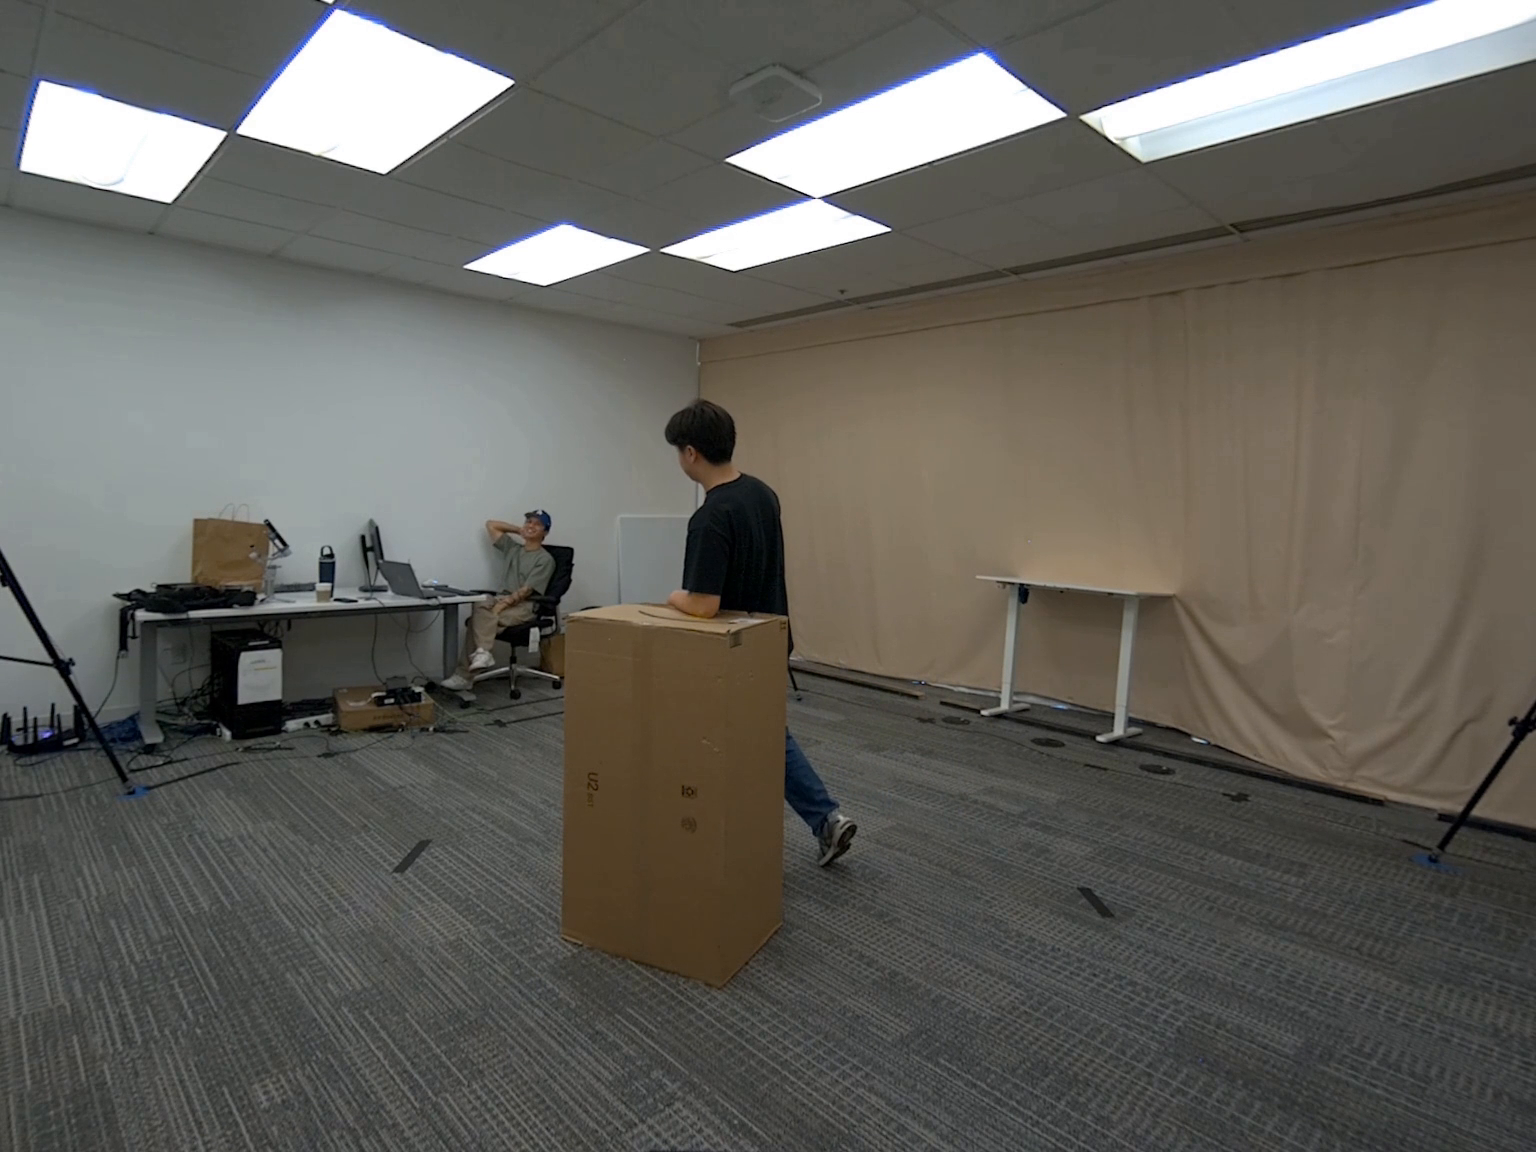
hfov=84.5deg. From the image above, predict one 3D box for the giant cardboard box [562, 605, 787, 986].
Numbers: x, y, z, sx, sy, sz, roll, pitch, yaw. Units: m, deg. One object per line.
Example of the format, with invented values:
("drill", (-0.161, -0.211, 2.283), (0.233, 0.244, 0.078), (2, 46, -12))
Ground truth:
("giant cardboard box", (-0.297, 0.632, 2.673), (0.596, 1.025, 0.438), (3, 3, 28))
